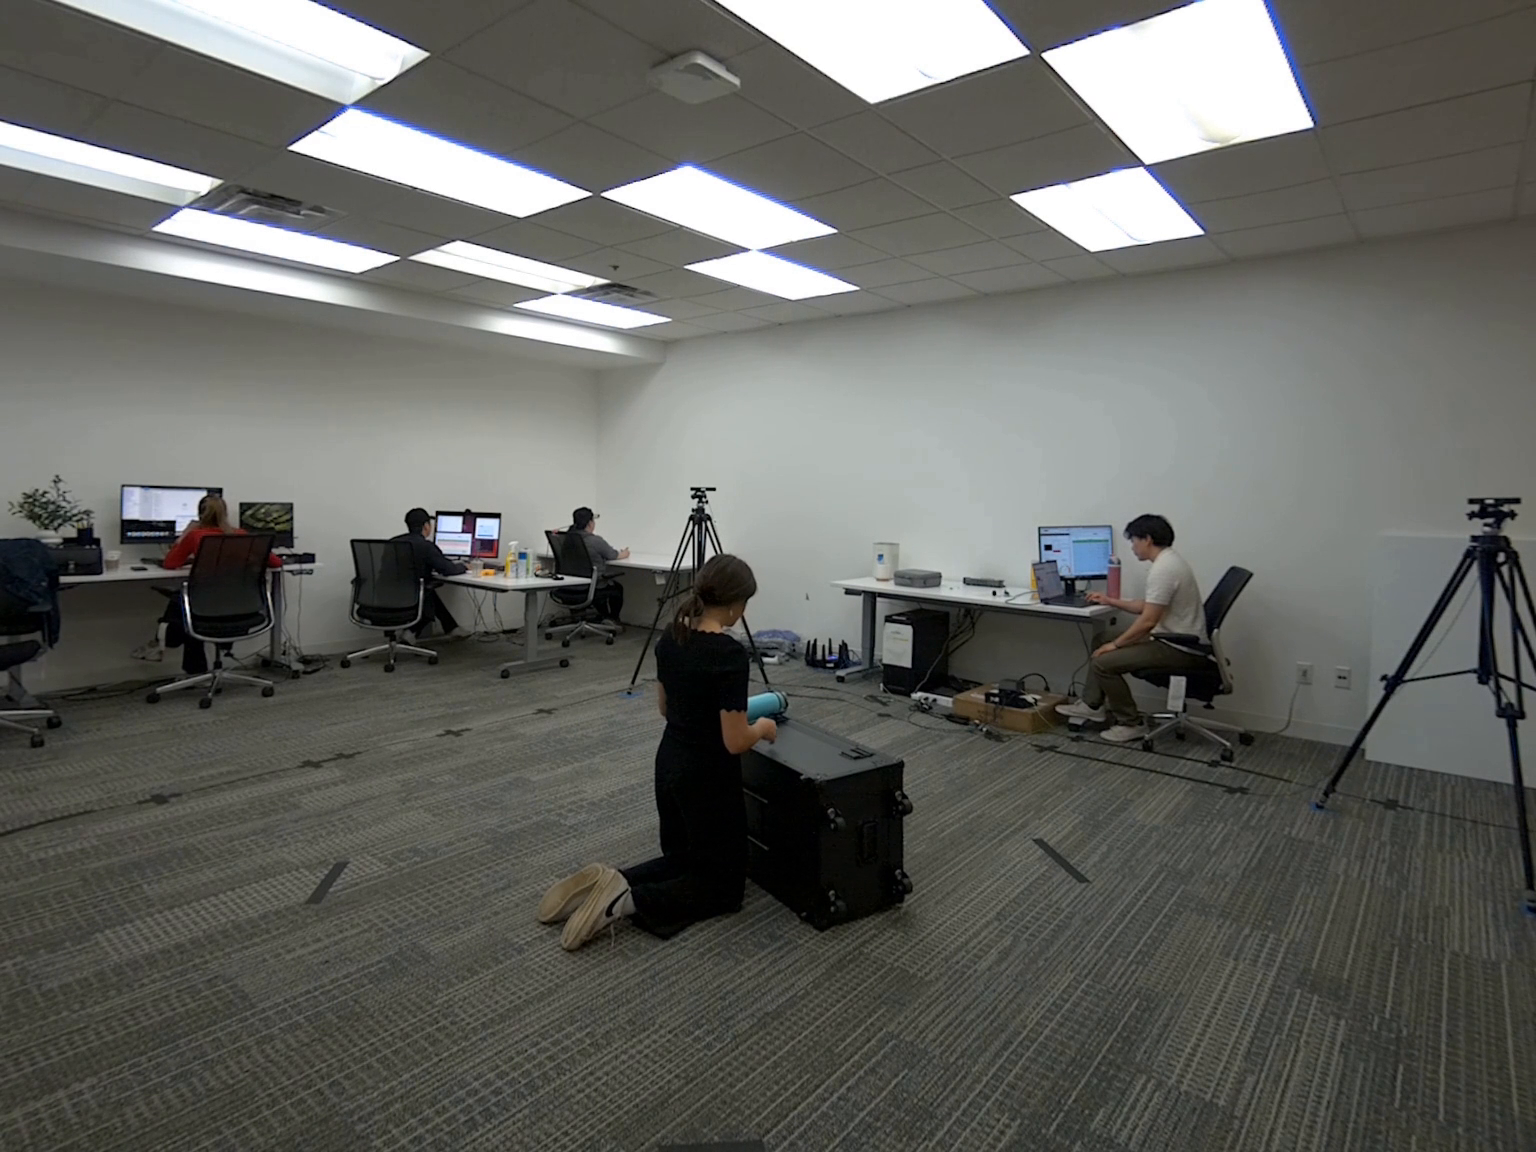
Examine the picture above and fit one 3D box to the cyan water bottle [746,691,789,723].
[{"bbox_3d":[-0.054,0.506,3.294,0.277,0.092,0.095,-9,9,-30],"label":"cyan water bottle"}]
